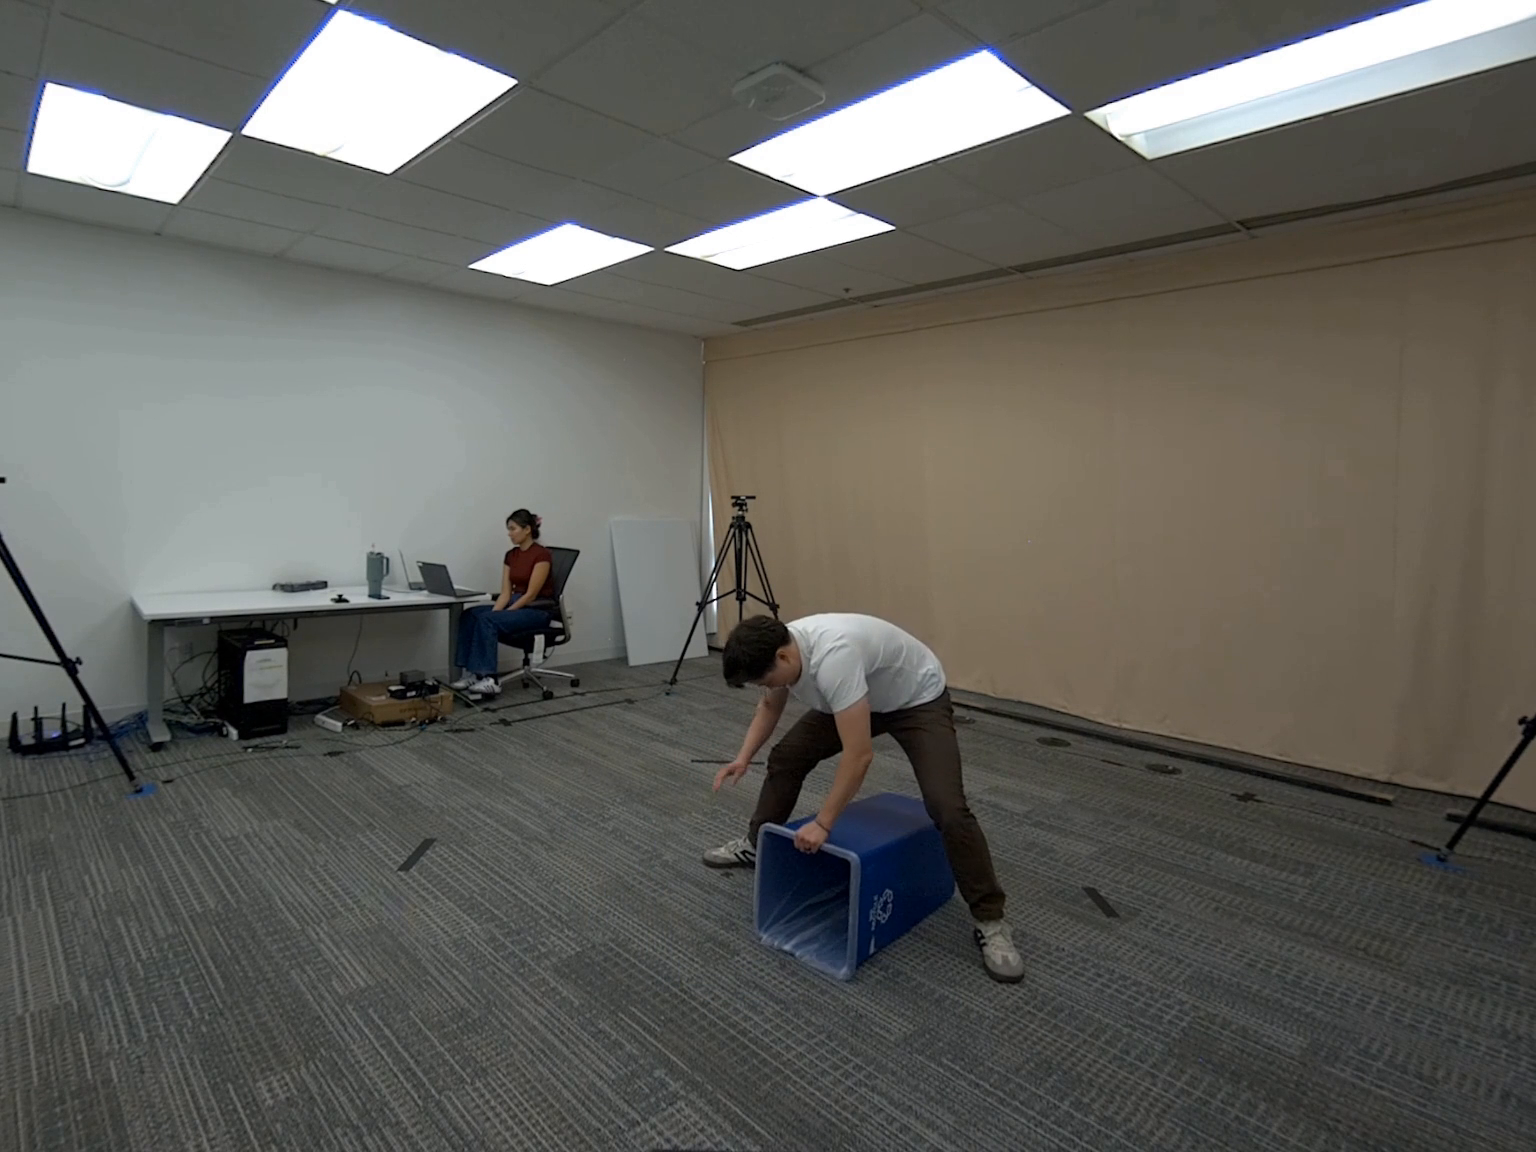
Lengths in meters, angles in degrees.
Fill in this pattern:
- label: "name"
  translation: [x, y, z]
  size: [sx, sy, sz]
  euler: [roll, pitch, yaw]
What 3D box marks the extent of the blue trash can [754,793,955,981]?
- label: "blue trash can"
  translation: [0.329, 0.973, 2.799]
  size: [0.383, 0.377, 0.697]
  euler: [4, 3, 40]
